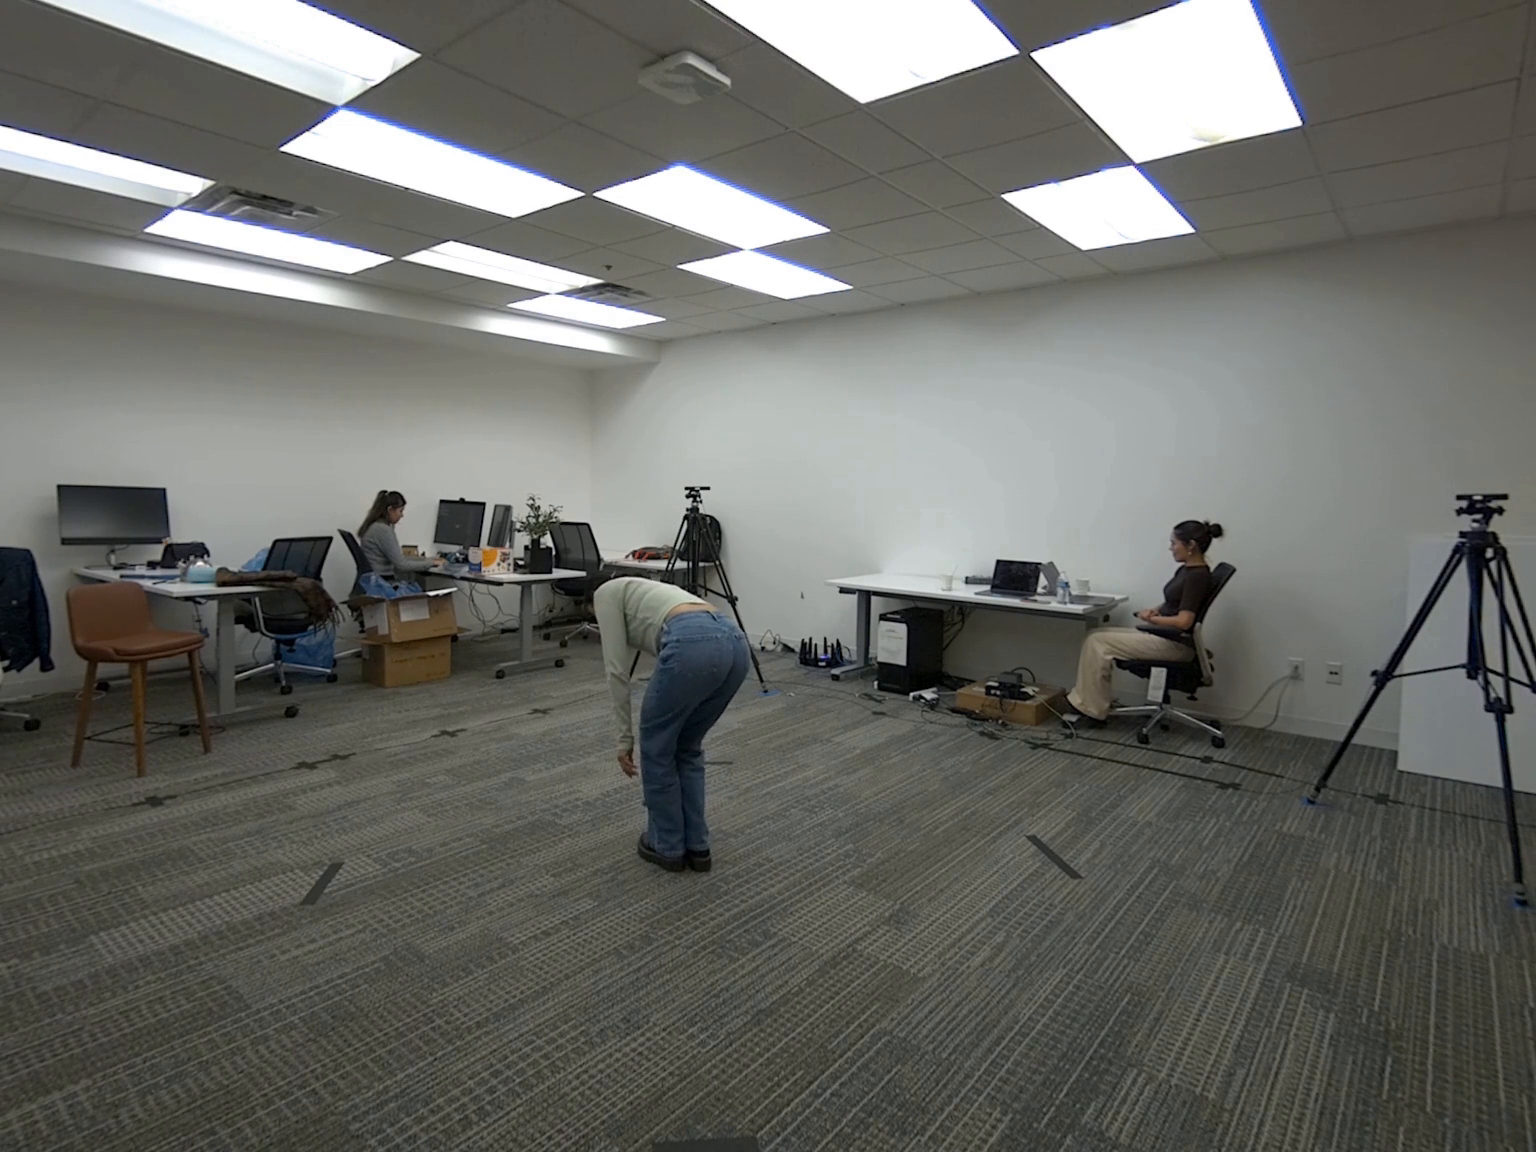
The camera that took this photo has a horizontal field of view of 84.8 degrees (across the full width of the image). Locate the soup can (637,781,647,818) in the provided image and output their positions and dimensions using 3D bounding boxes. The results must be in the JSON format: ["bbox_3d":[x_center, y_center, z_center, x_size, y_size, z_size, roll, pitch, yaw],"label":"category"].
[{"bbox_3d":[-0.486,0.894,3.382,0.067,0.121,0.067,-3,1,-2],"label":"soup can"}]
